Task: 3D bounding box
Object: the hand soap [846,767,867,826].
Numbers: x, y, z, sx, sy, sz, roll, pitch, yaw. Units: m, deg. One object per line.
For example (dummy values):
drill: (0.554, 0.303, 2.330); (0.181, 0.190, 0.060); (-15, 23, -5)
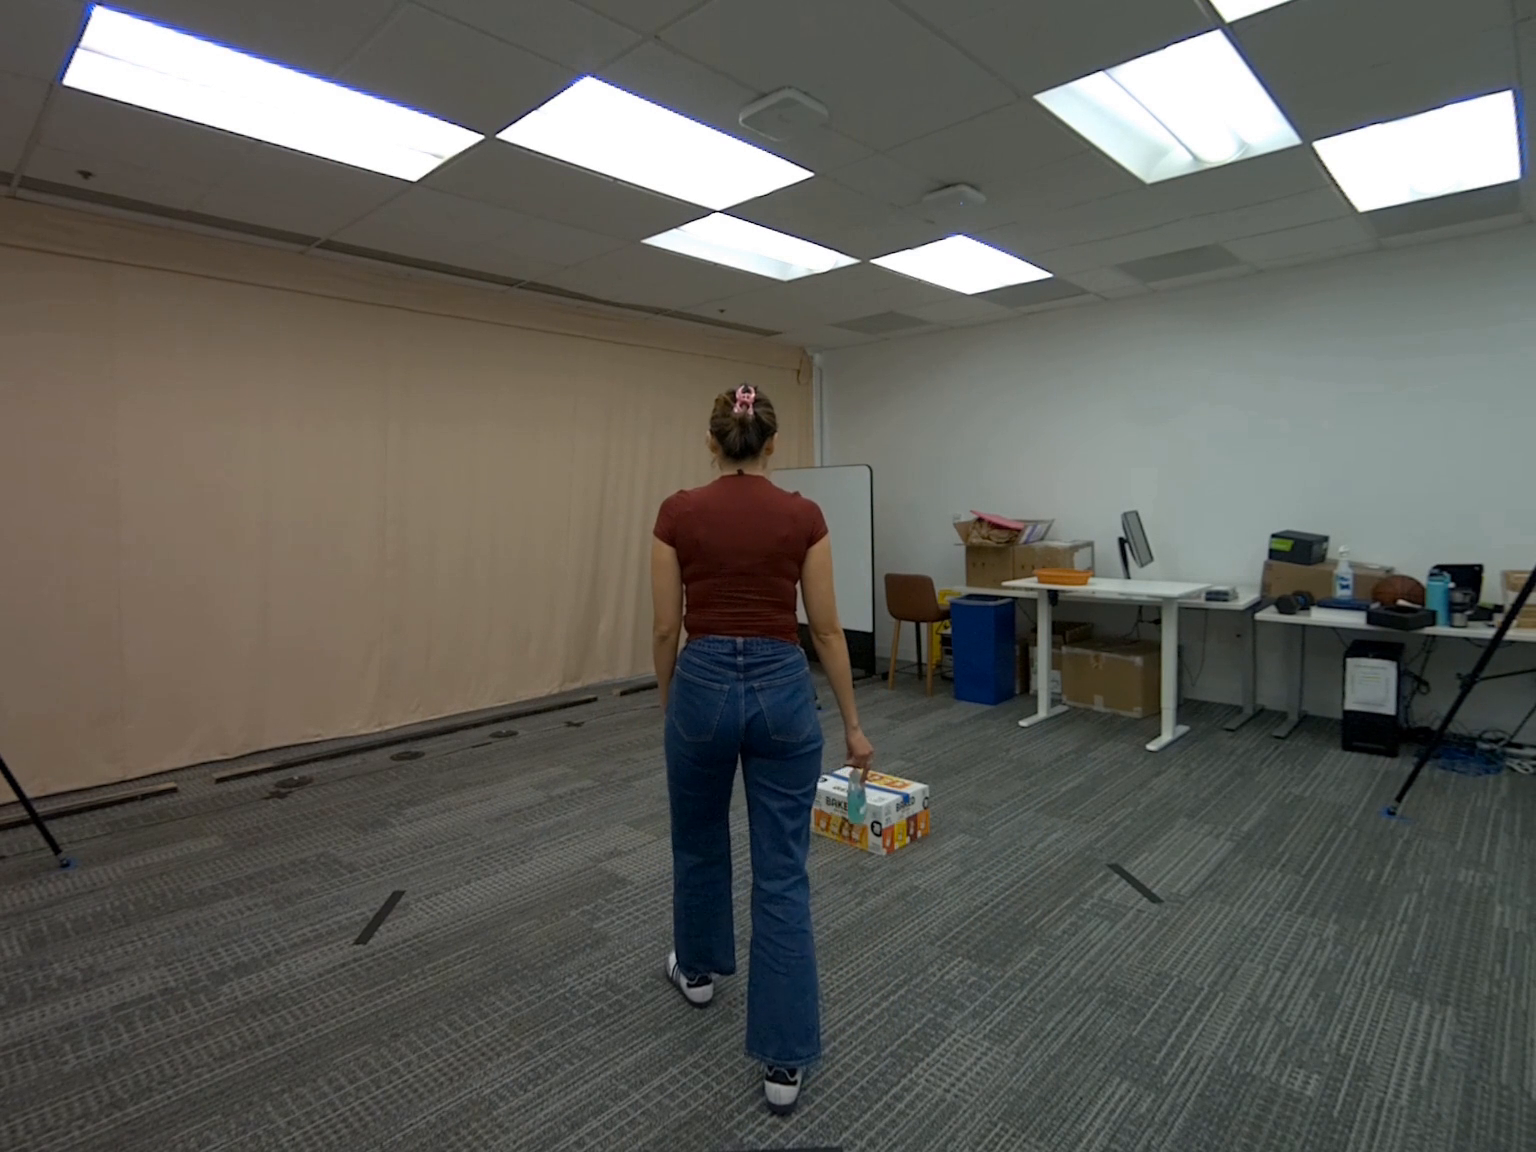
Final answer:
hand soap: (0.233, 0.564, 2.213); (0.044, 0.167, 0.082); (-1, 7, 29)
